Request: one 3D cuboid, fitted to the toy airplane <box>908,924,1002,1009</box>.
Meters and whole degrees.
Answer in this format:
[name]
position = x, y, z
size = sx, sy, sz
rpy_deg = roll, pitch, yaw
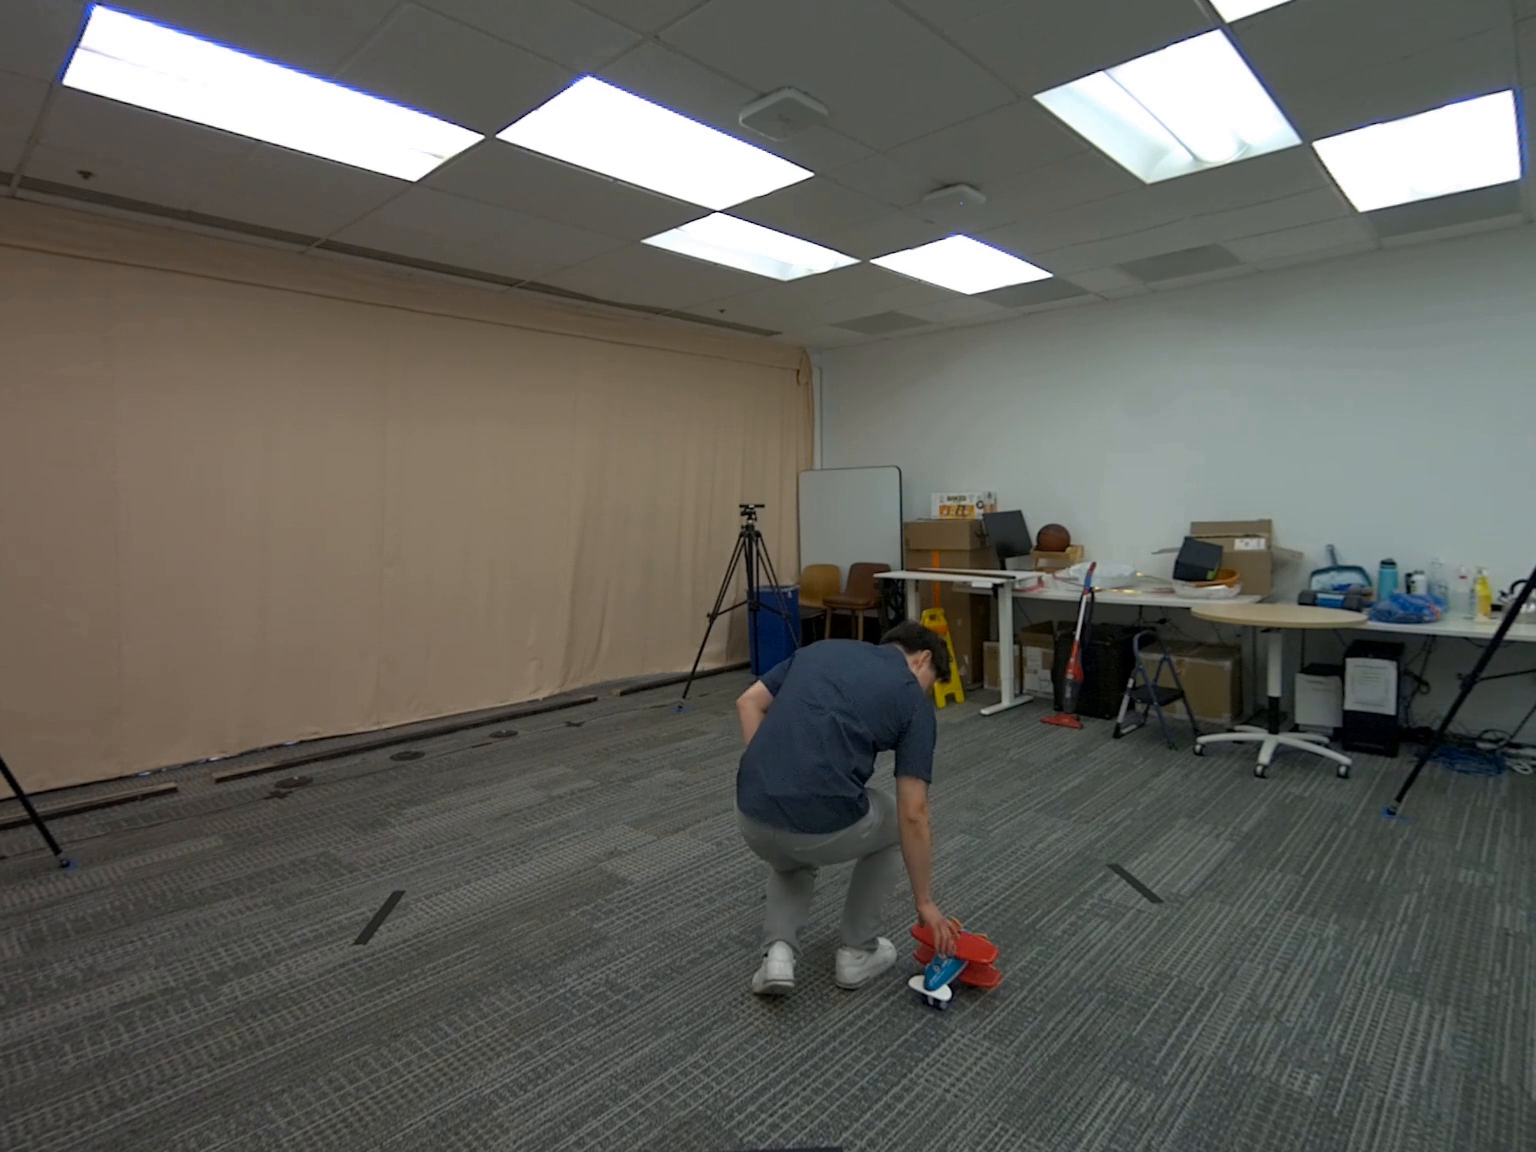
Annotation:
[toy airplane]
position = 0.536, 1.112, 2.371
size = 0.255, 0.156, 0.256
rpy_deg = 1, 4, 14
